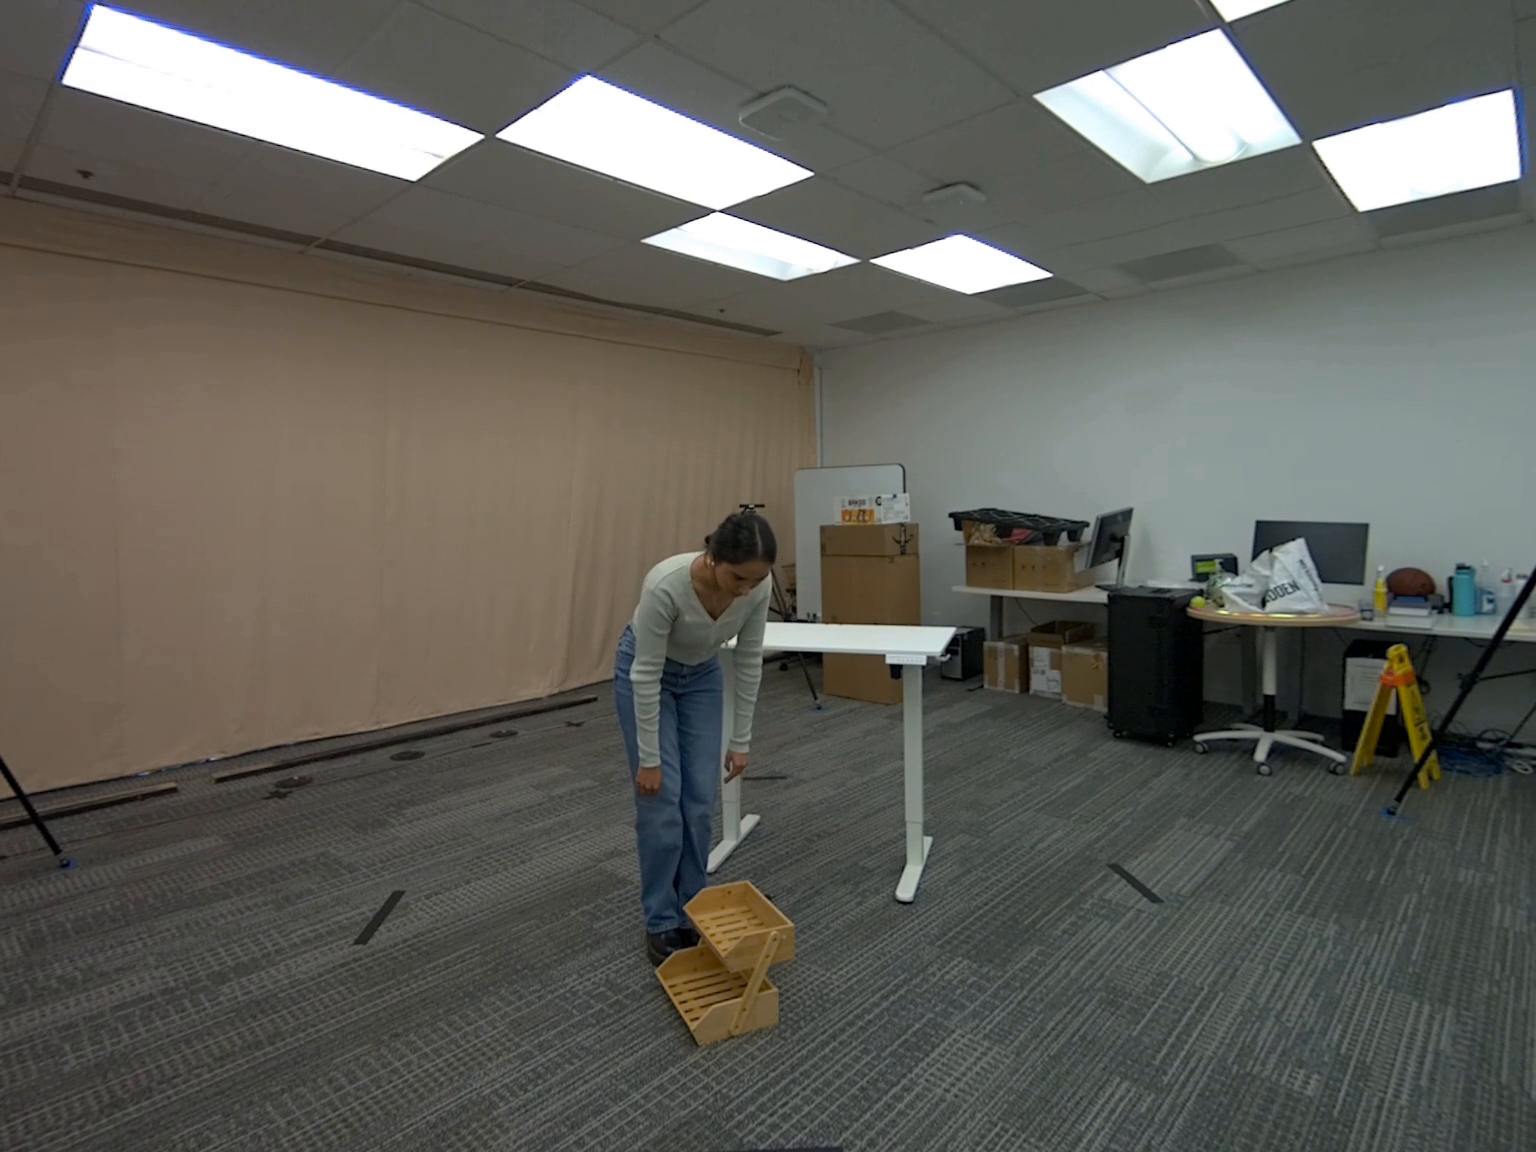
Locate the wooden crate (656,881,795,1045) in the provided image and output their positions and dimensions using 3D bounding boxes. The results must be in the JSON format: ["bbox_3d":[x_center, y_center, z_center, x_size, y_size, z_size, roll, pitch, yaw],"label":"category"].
[{"bbox_3d":[-0.126,1.065,2.343,0.295,0.273,0.333,-2,4,-25],"label":"wooden crate"}]
